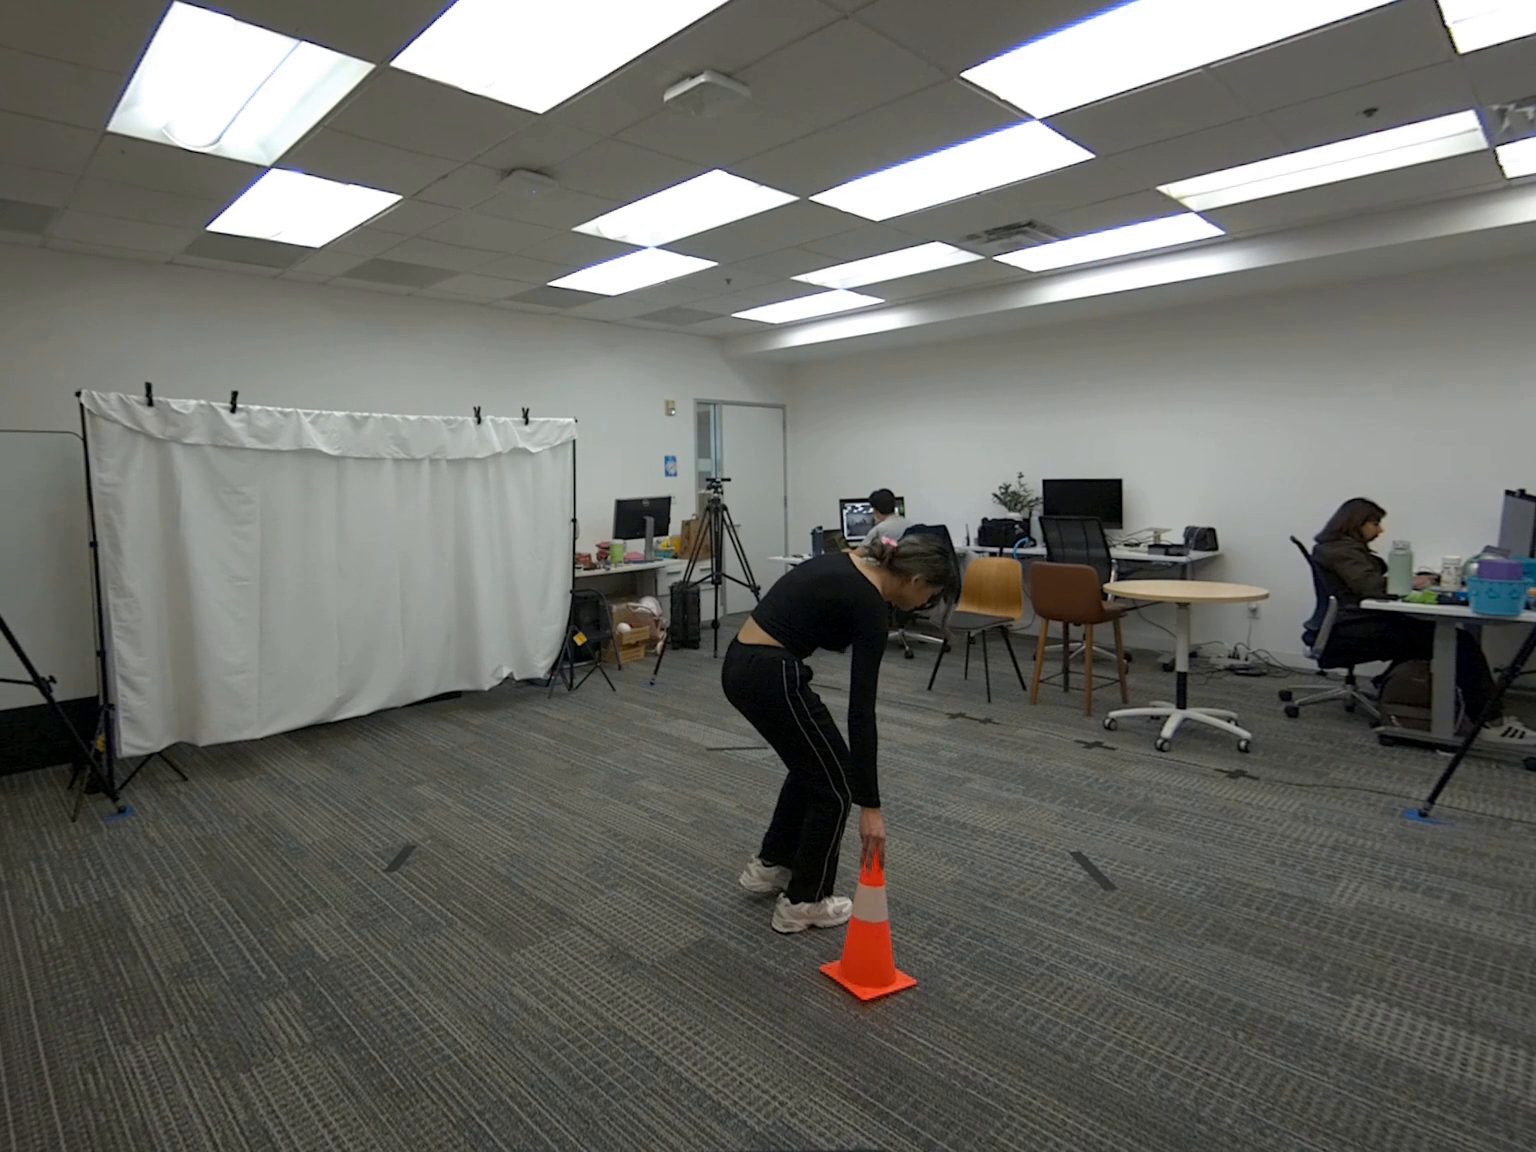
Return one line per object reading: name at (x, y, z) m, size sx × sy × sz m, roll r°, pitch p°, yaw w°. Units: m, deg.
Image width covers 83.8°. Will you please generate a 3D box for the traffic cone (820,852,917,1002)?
traffic cone at (0.299, 0.928, 2.384) m, size 0.197 × 0.384 × 0.211 m, roll 3°, pitch 0°, yaw -36°
